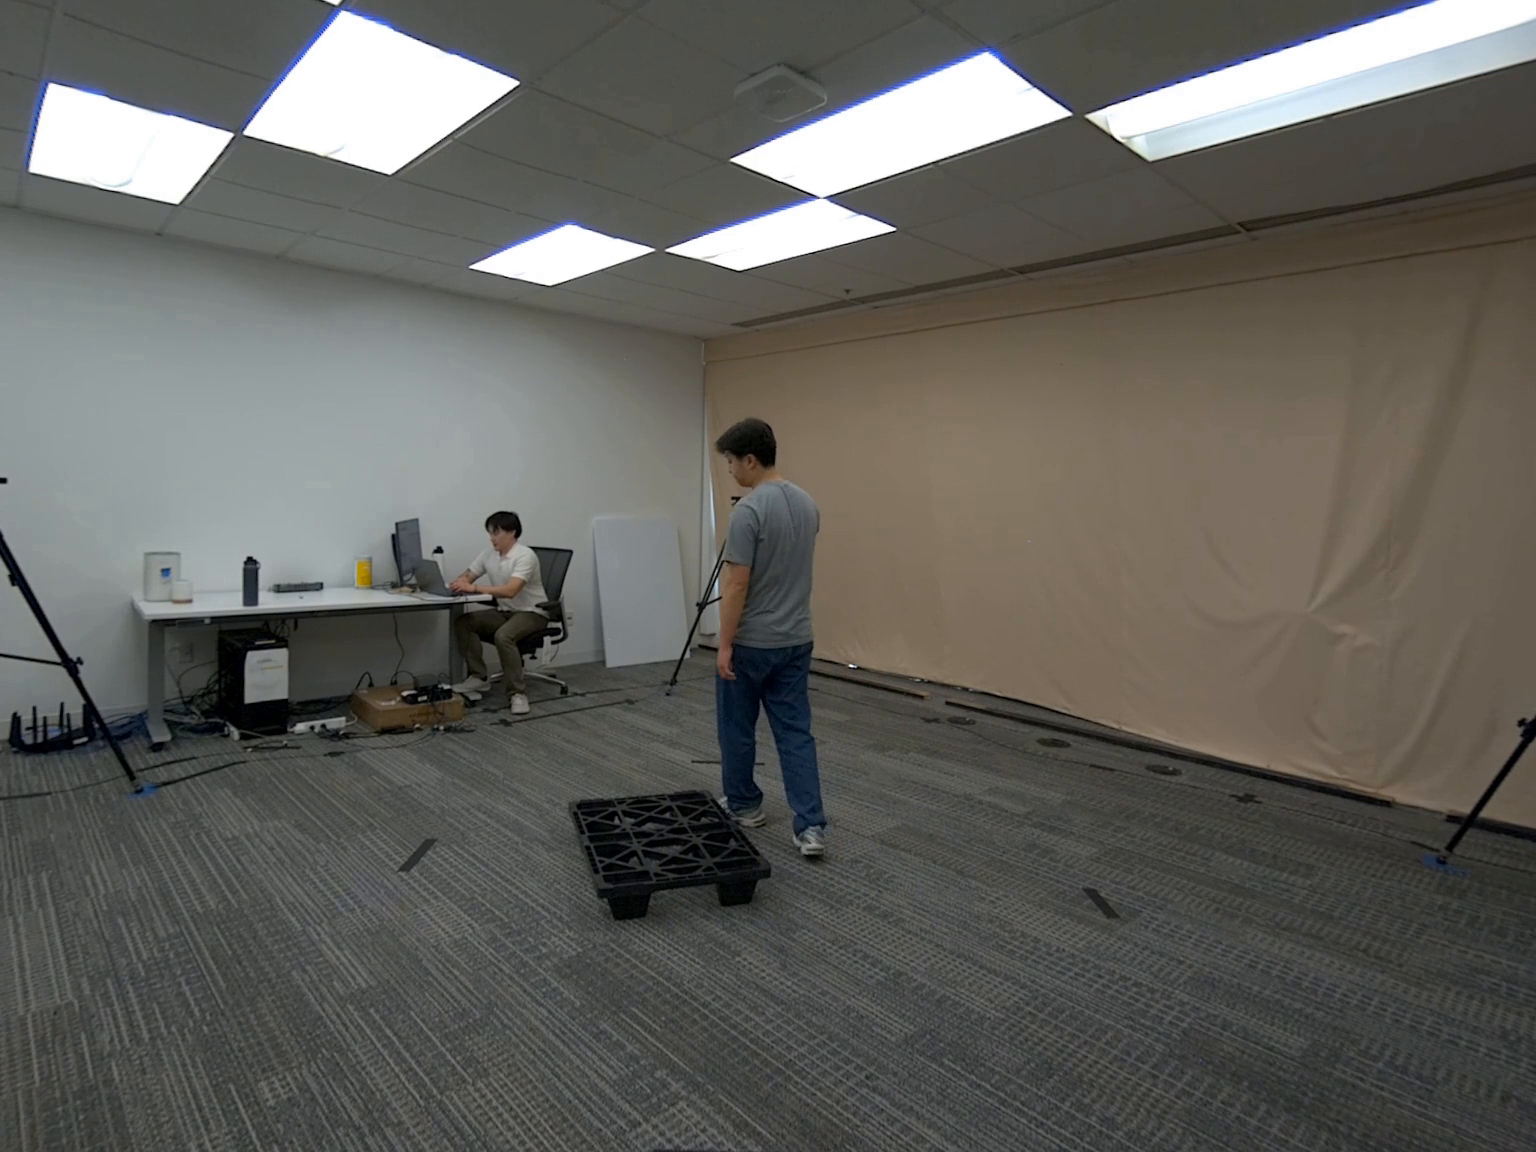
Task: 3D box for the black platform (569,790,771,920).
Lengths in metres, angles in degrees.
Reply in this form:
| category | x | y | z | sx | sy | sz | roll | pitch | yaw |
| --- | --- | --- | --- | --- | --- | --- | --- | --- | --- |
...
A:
| category | x | y | z | sx | sy | sz | roll | pitch | yaw |
| --- | --- | --- | --- | --- | --- | --- | --- | --- | --- |
| black platform | -0.408 | 1.026 | 3.166 | 0.596 | 0.143 | 0.820 | 0 | 5 | -20 |
